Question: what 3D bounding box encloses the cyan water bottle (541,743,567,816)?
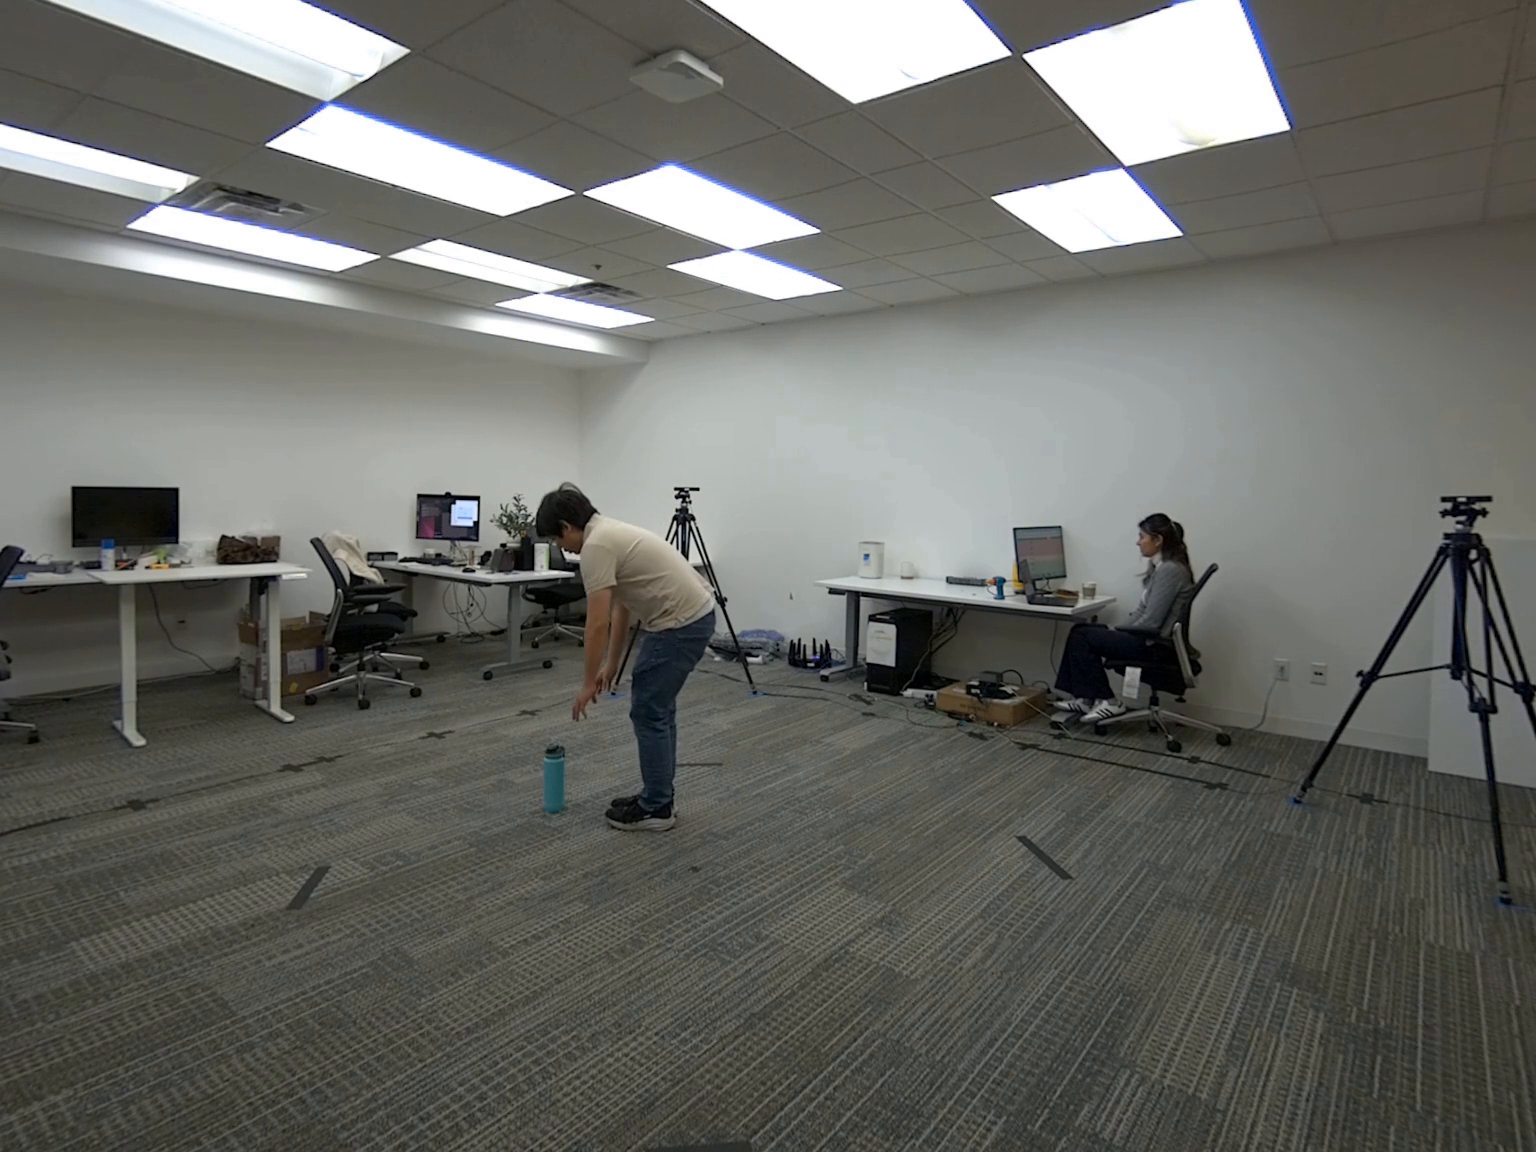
[{"bbox_3d":[-0.939,0.860,3.682,0.092,0.282,0.093,2,3,-2],"label":"cyan water bottle"}]
